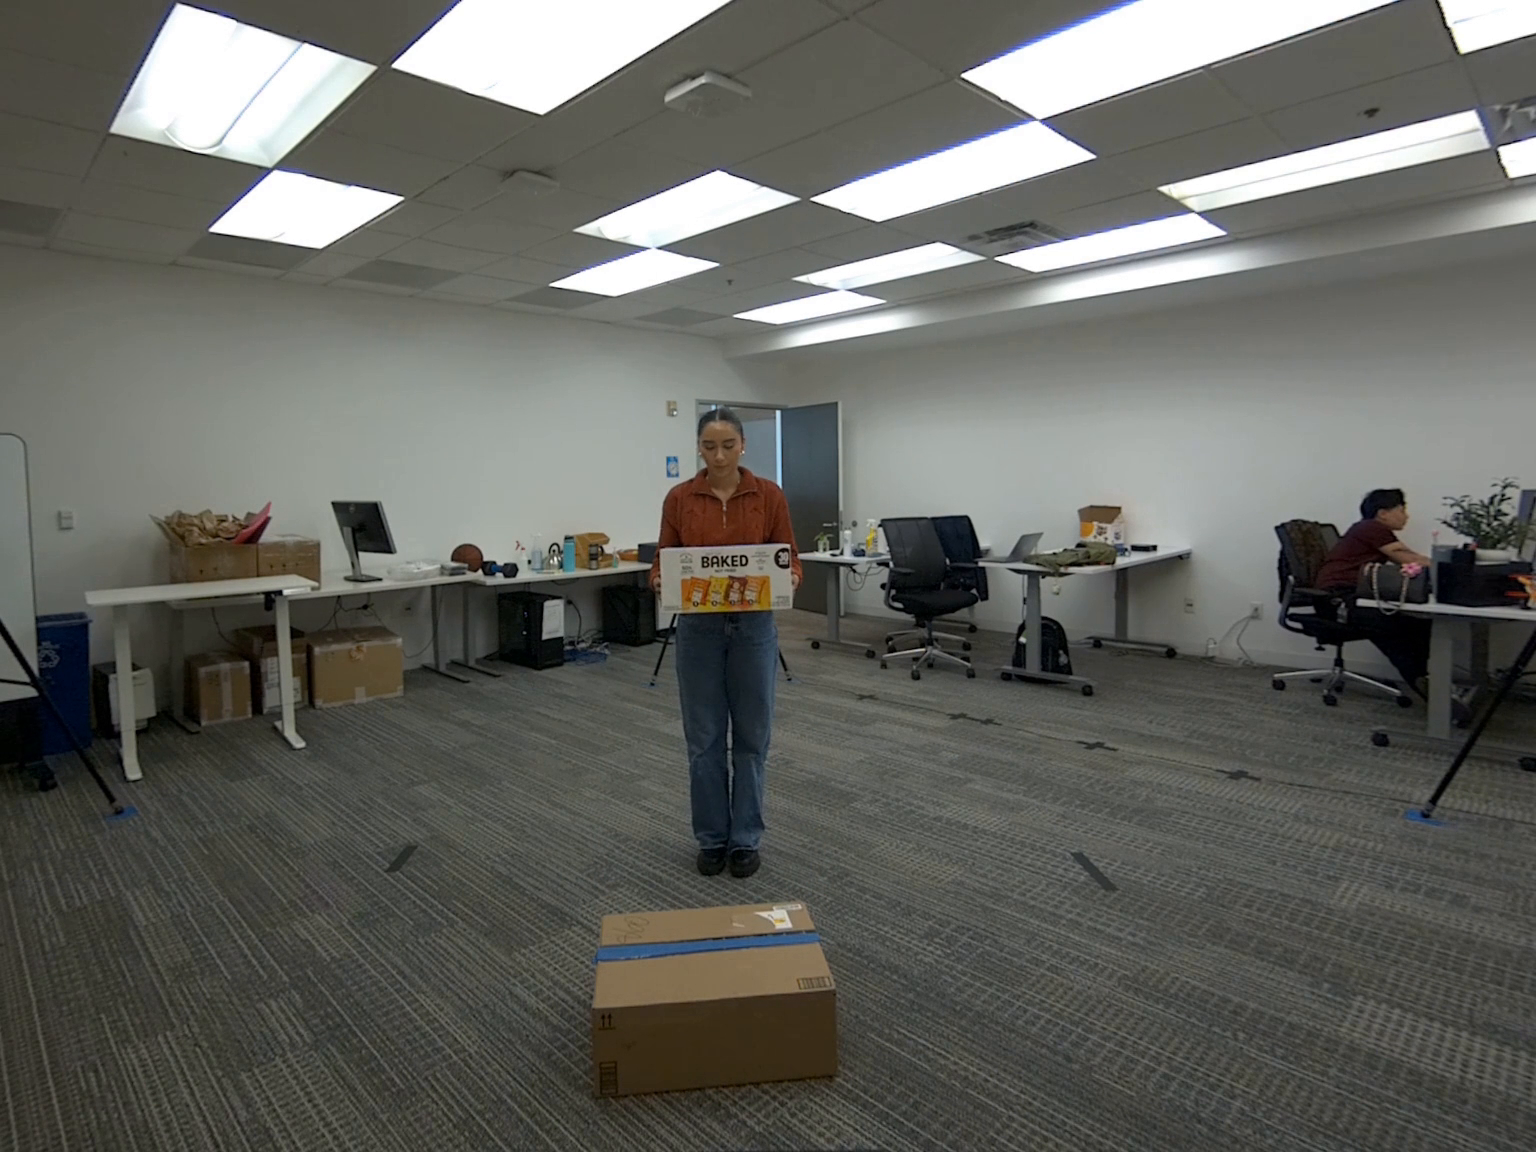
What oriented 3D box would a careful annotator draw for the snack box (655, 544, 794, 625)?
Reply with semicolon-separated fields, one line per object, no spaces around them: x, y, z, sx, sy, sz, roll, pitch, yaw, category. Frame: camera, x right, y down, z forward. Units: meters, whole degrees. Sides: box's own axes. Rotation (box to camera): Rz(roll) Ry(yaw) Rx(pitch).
-0.141;0.006;2.812;0.405;0.205;0.340;-2;2;0;snack box
